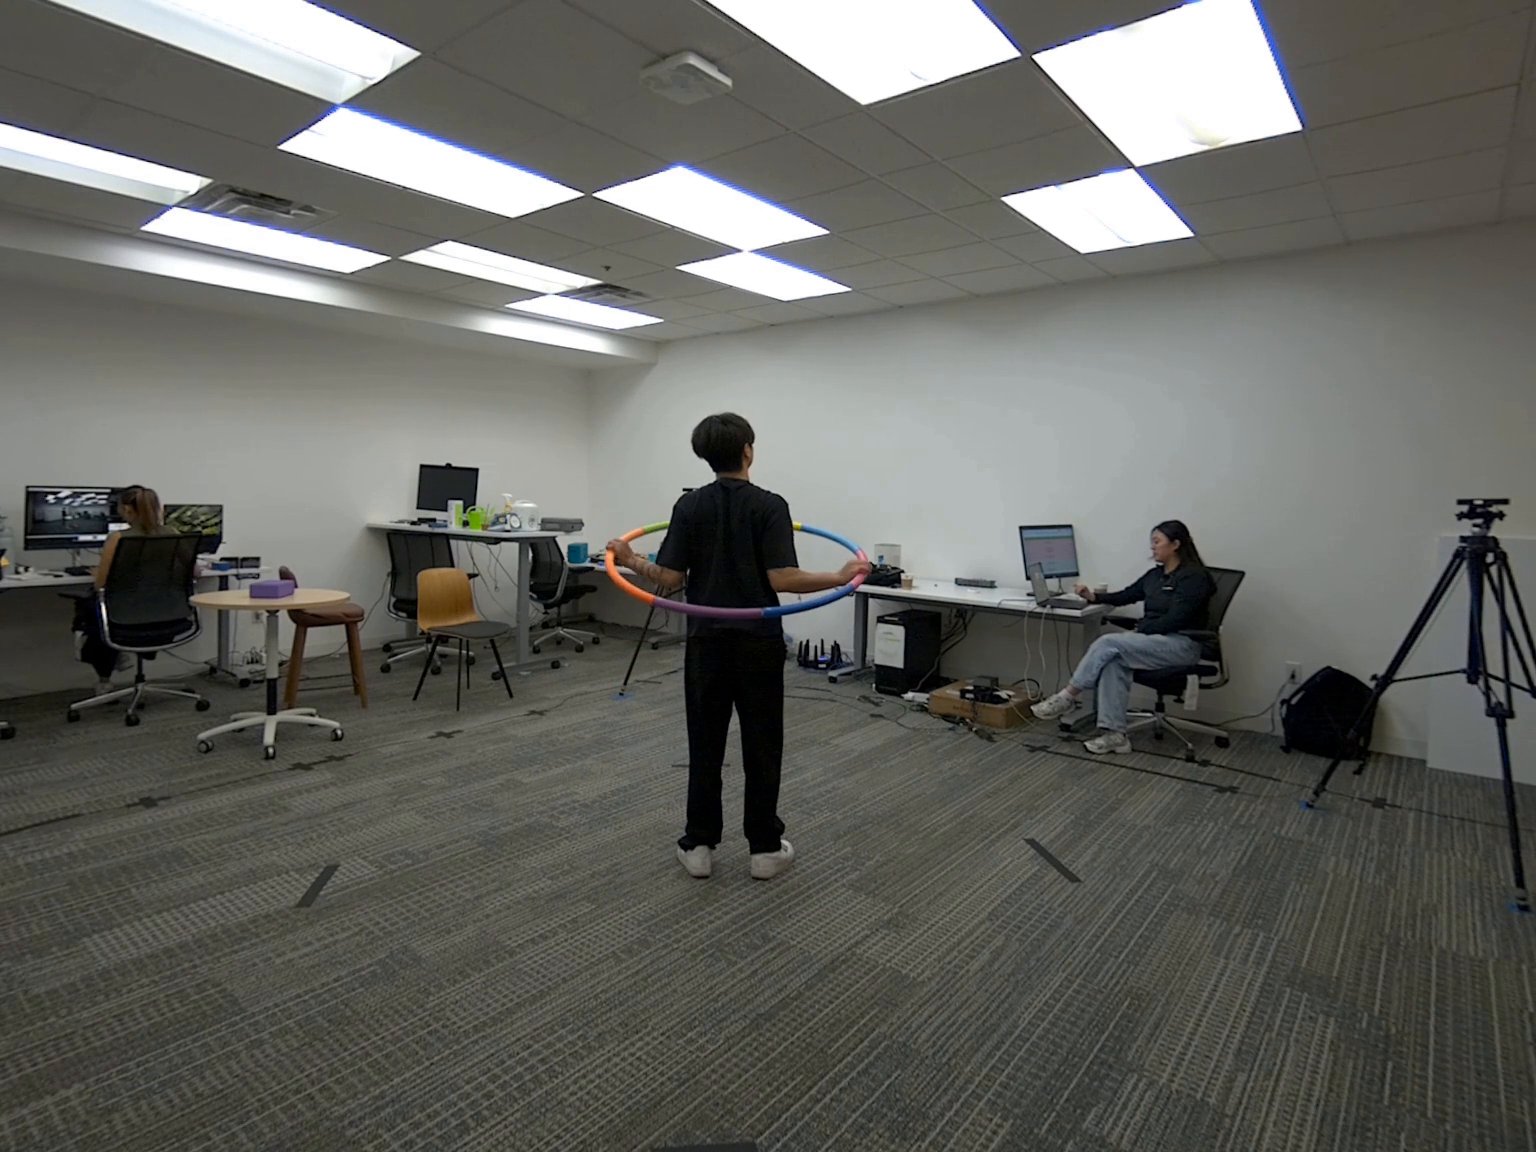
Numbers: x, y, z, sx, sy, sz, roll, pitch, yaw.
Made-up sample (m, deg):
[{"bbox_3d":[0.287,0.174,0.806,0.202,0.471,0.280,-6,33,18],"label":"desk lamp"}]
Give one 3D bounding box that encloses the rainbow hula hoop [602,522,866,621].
[{"bbox_3d":[-0.125,-0.070,3.212,0.978,0.035,0.998,-1,22,-2],"label":"rainbow hula hoop"}]
